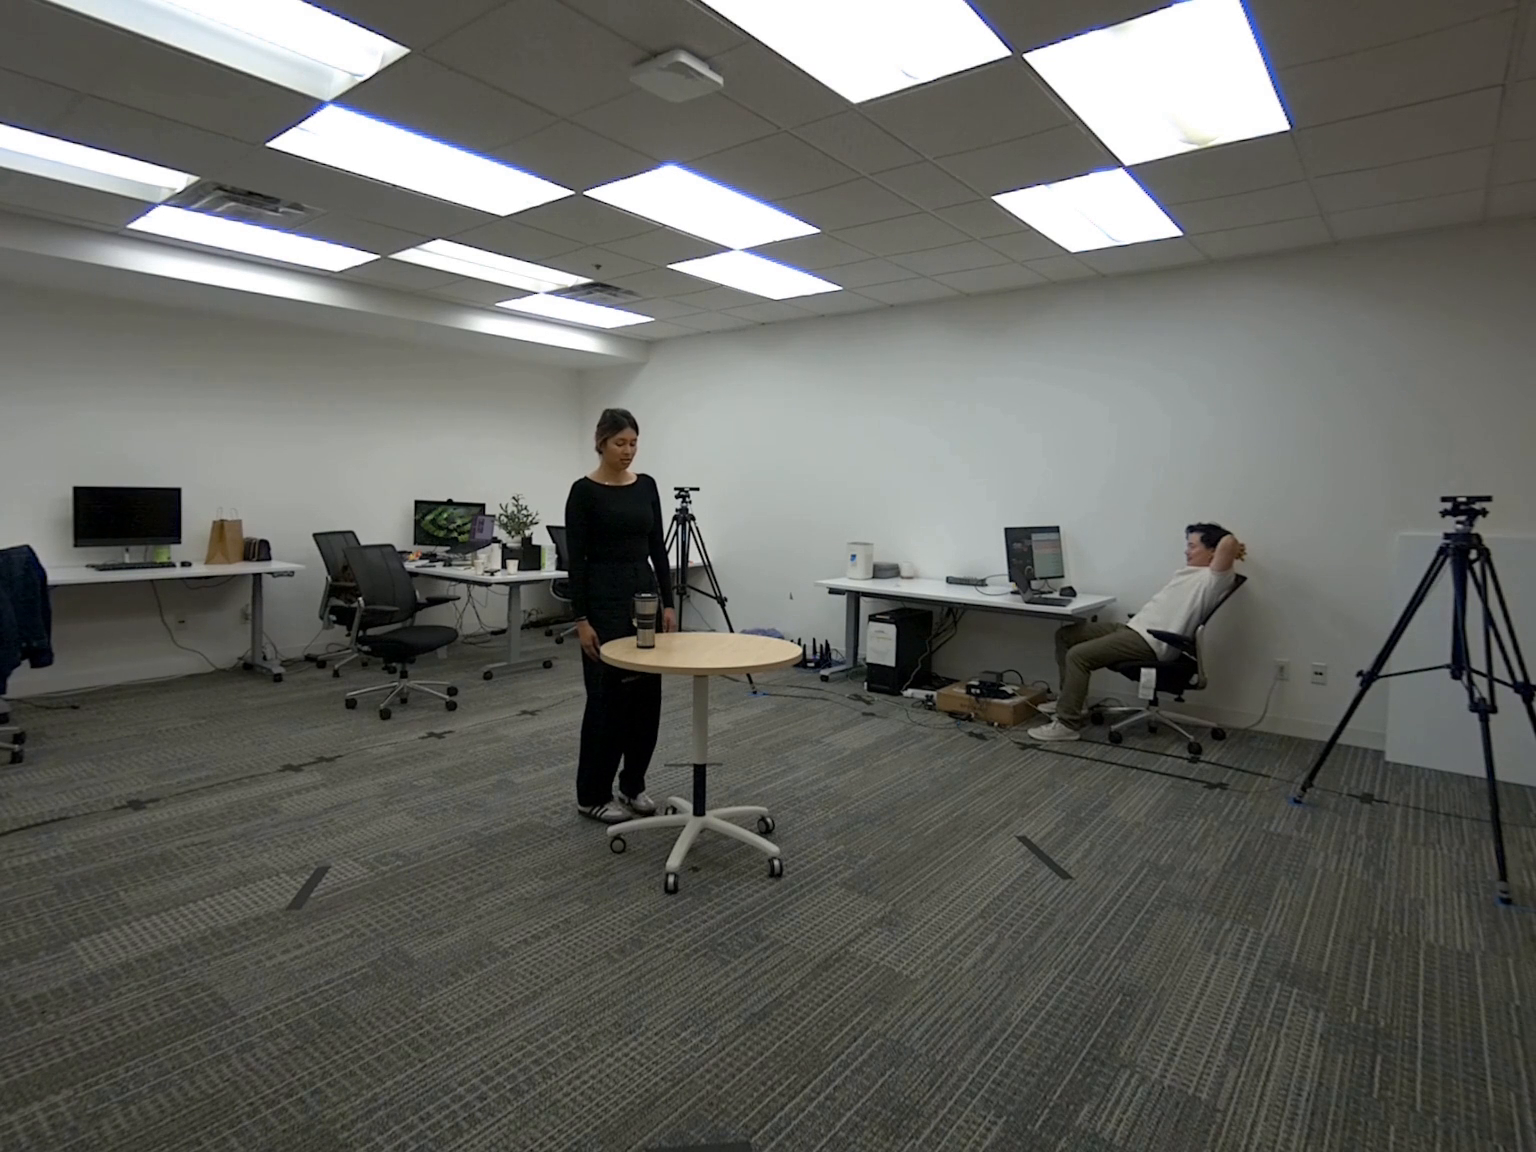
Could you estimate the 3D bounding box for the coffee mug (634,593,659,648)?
[{"bbox_3d":[-0.493,0.165,3.247,0.085,0.202,0.126,-5,8,-34],"label":"coffee mug"}]
